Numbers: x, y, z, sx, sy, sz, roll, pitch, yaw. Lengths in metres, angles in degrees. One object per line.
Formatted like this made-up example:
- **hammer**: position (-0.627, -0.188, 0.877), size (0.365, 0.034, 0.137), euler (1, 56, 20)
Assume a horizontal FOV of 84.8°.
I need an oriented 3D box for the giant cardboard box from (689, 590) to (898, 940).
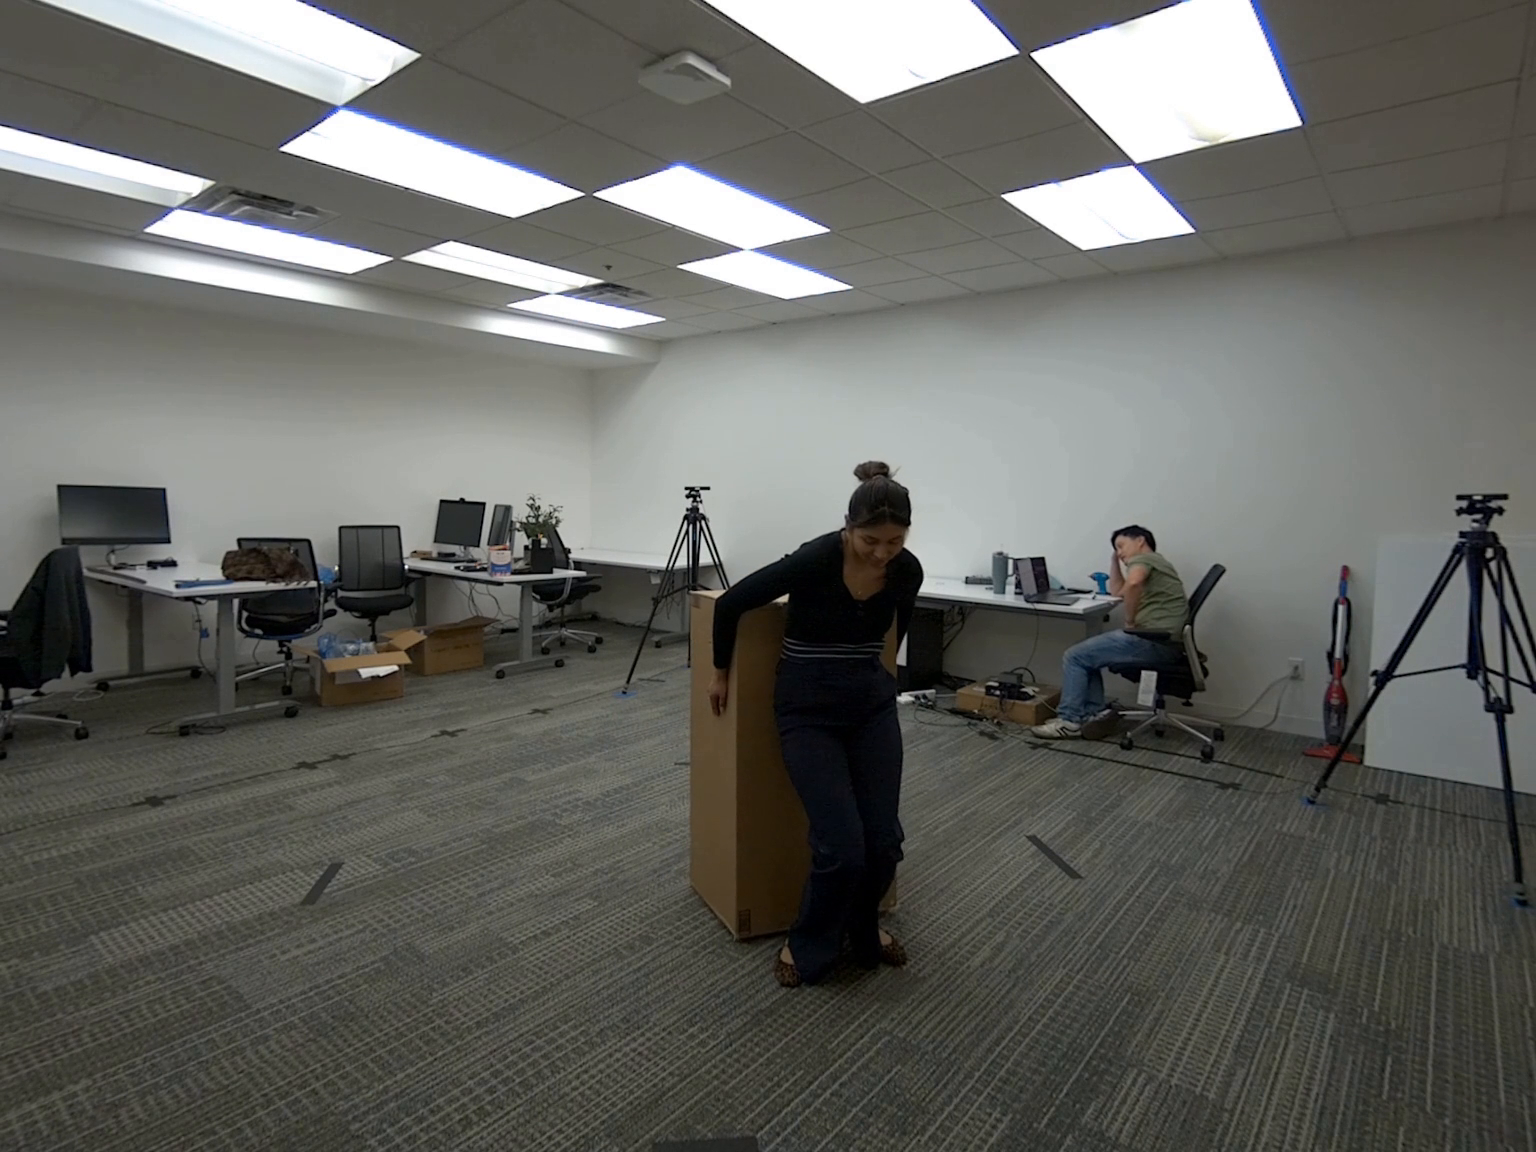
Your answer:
- **giant cardboard box**: position (0.063, 0.561, 2.875), size (0.565, 1.025, 0.436), euler (-1, 1, -23)
